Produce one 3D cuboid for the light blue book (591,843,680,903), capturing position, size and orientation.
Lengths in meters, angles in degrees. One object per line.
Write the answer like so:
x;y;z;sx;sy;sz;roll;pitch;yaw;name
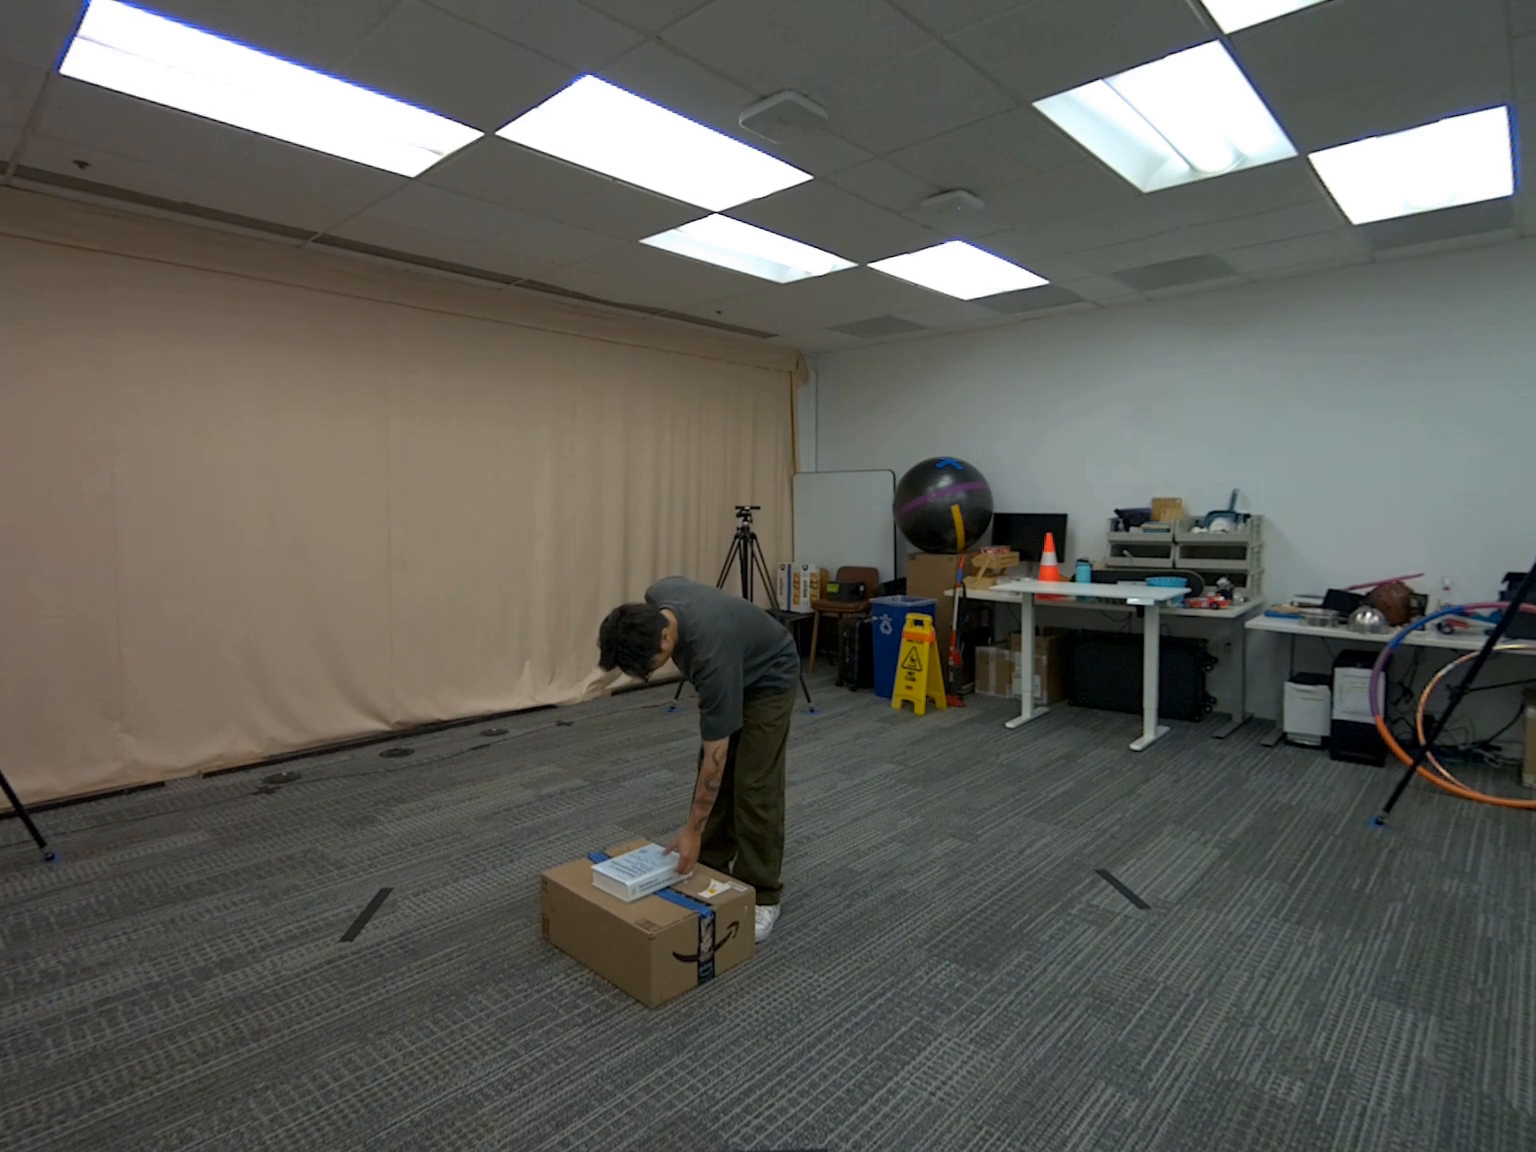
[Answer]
-0.396;0.933;2.665;0.198;0.059;0.253;2;5;44;light blue book
